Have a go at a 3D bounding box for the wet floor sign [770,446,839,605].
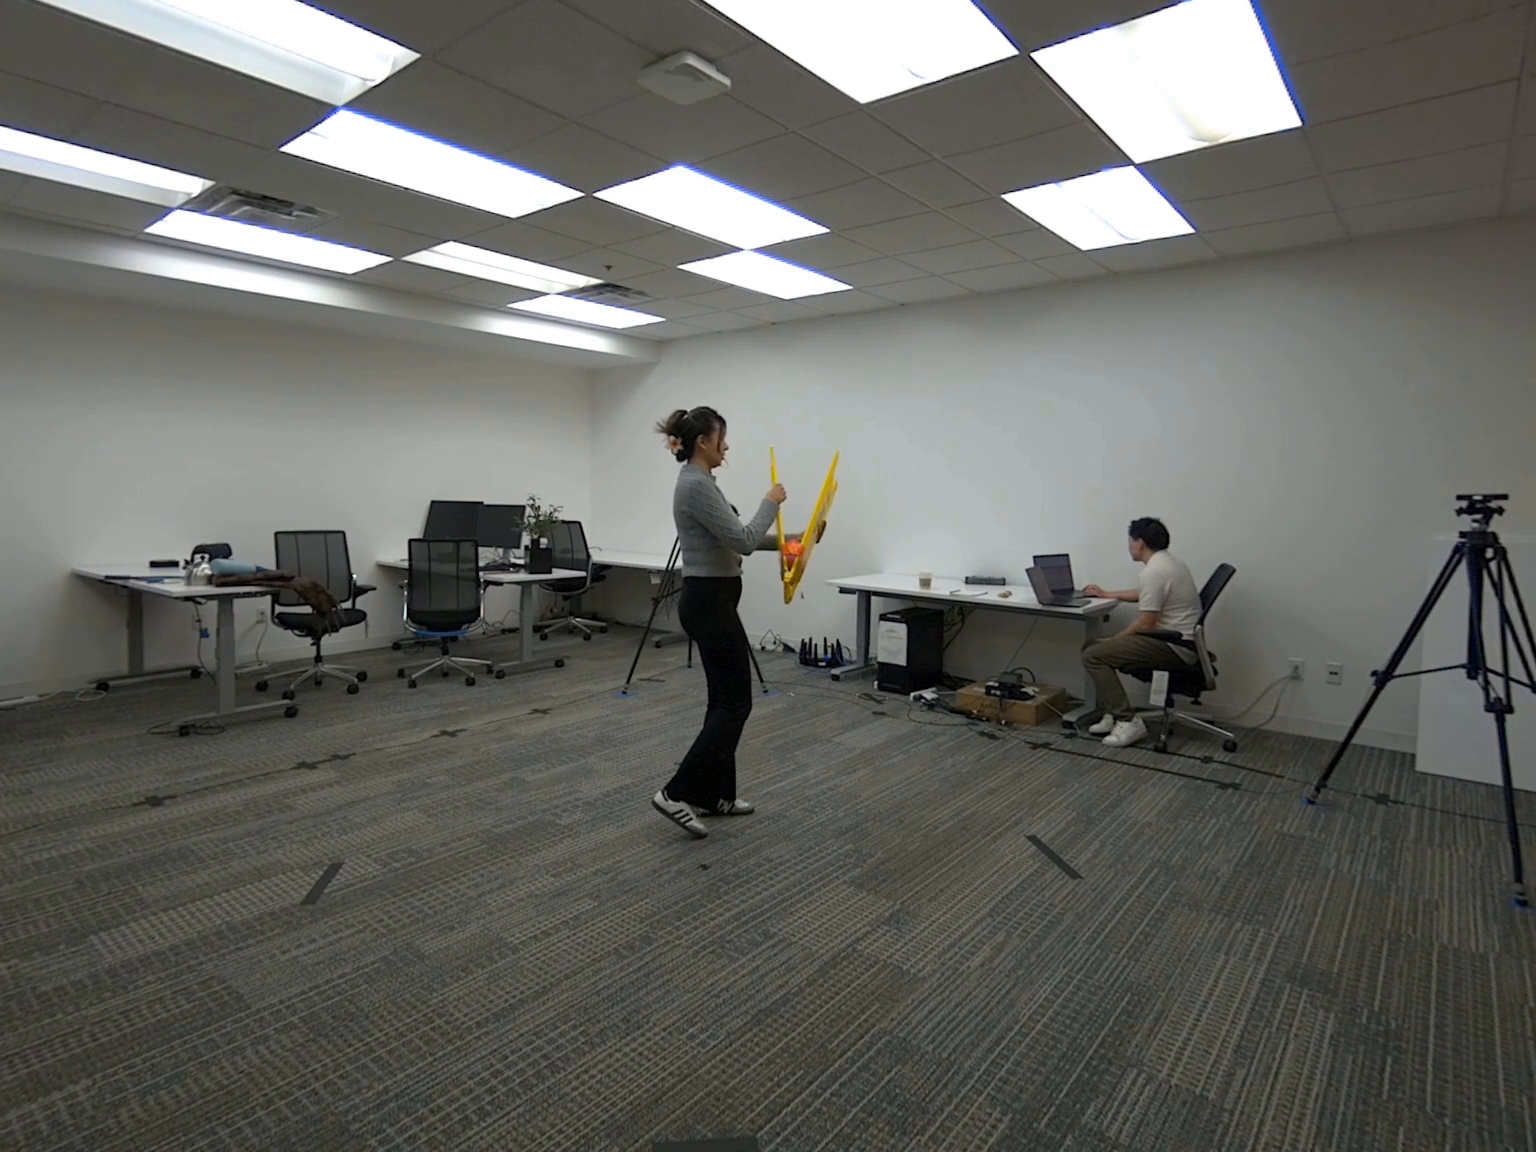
[{"bbox_3d":[0.114,-0.205,3.582,0.292,0.659,0.274,4,-30,7],"label":"wet floor sign"}]
